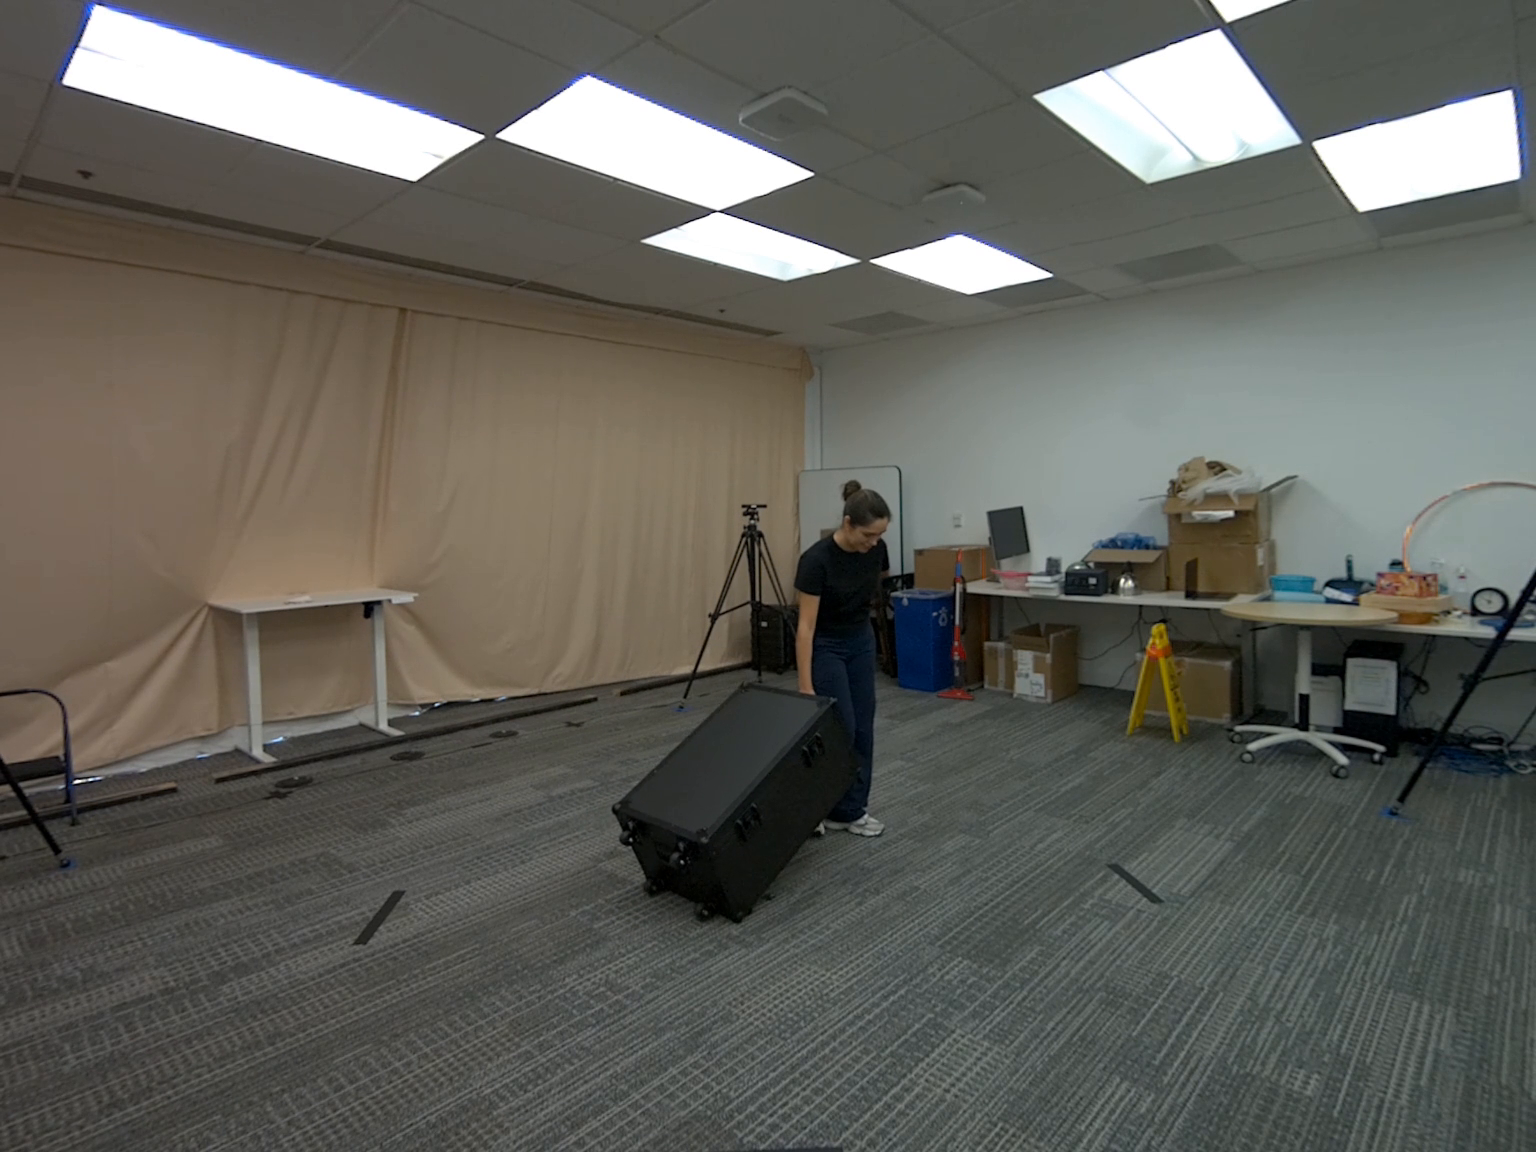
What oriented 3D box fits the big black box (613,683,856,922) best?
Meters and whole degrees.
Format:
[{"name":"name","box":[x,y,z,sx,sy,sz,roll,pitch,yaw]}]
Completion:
[{"name":"big black box","box":[-0.107,0.822,3.130,0.538,0.388,0.850,3,32,44]}]
